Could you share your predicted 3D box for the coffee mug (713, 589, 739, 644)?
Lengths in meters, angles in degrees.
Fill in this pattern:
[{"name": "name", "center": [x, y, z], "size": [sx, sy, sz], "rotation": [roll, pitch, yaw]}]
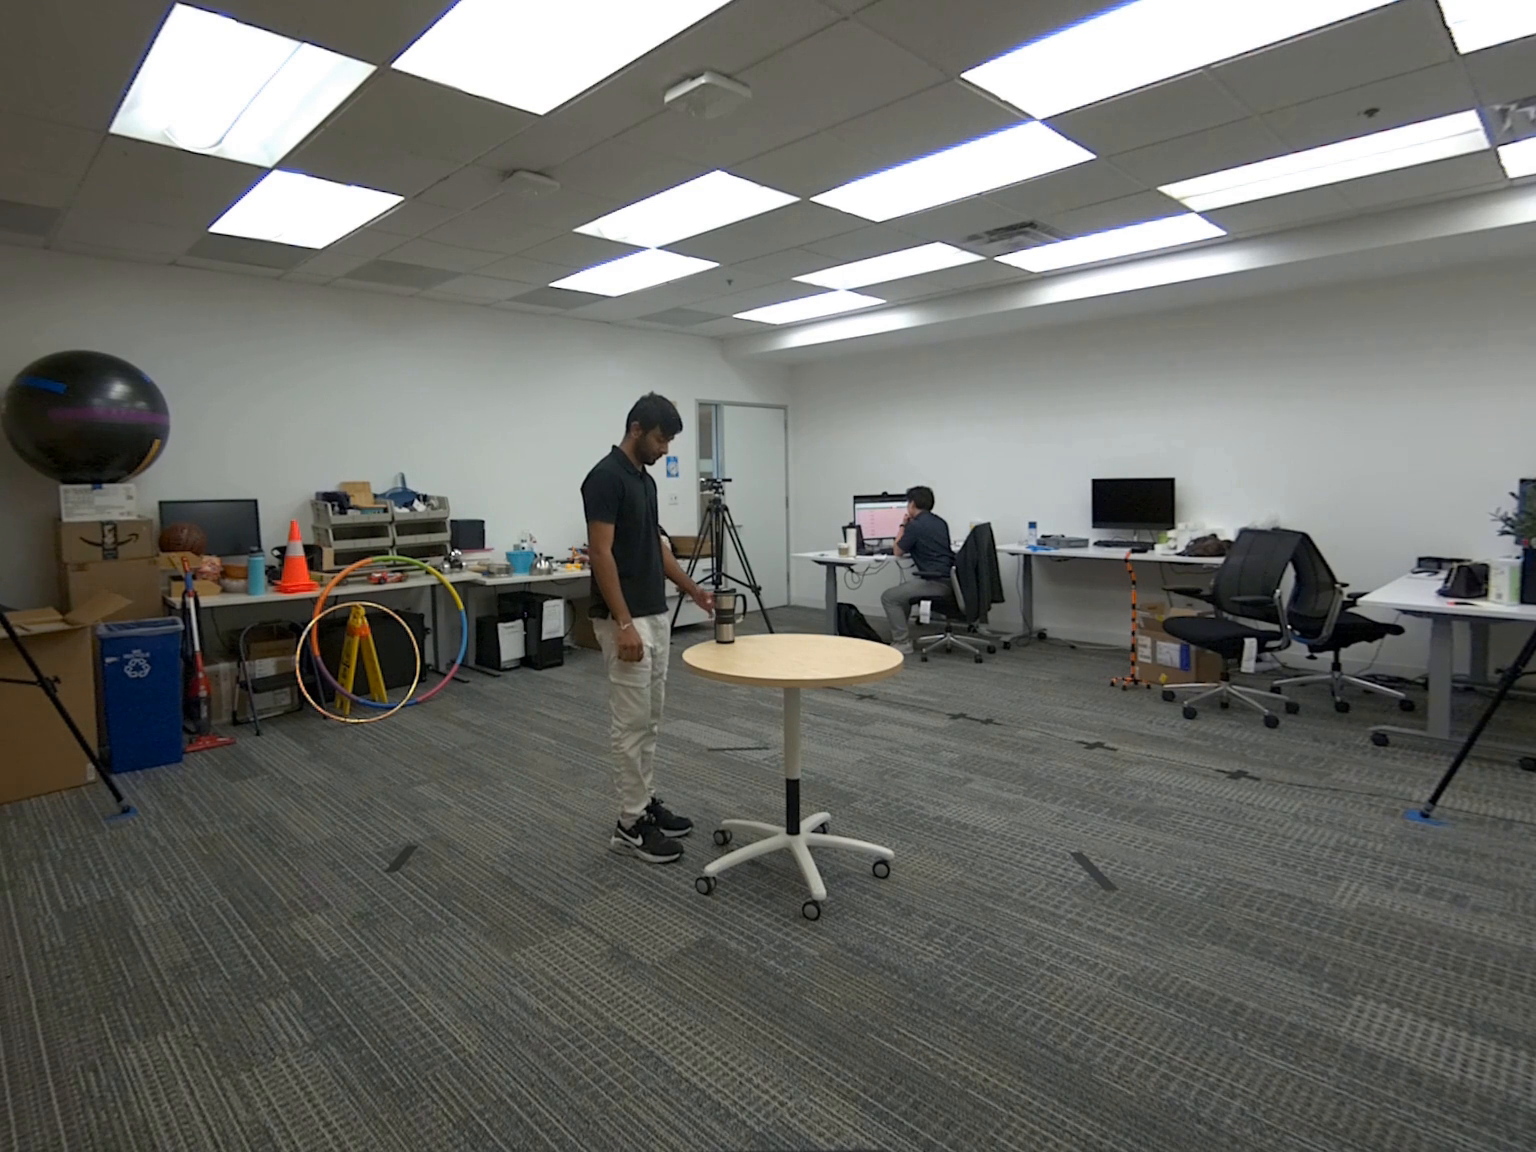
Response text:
[{"name": "coffee mug", "center": [-0.145, 0.151, 3.201], "size": [0.123, 0.203, 0.087], "rotation": [-3, 0, 14]}]
